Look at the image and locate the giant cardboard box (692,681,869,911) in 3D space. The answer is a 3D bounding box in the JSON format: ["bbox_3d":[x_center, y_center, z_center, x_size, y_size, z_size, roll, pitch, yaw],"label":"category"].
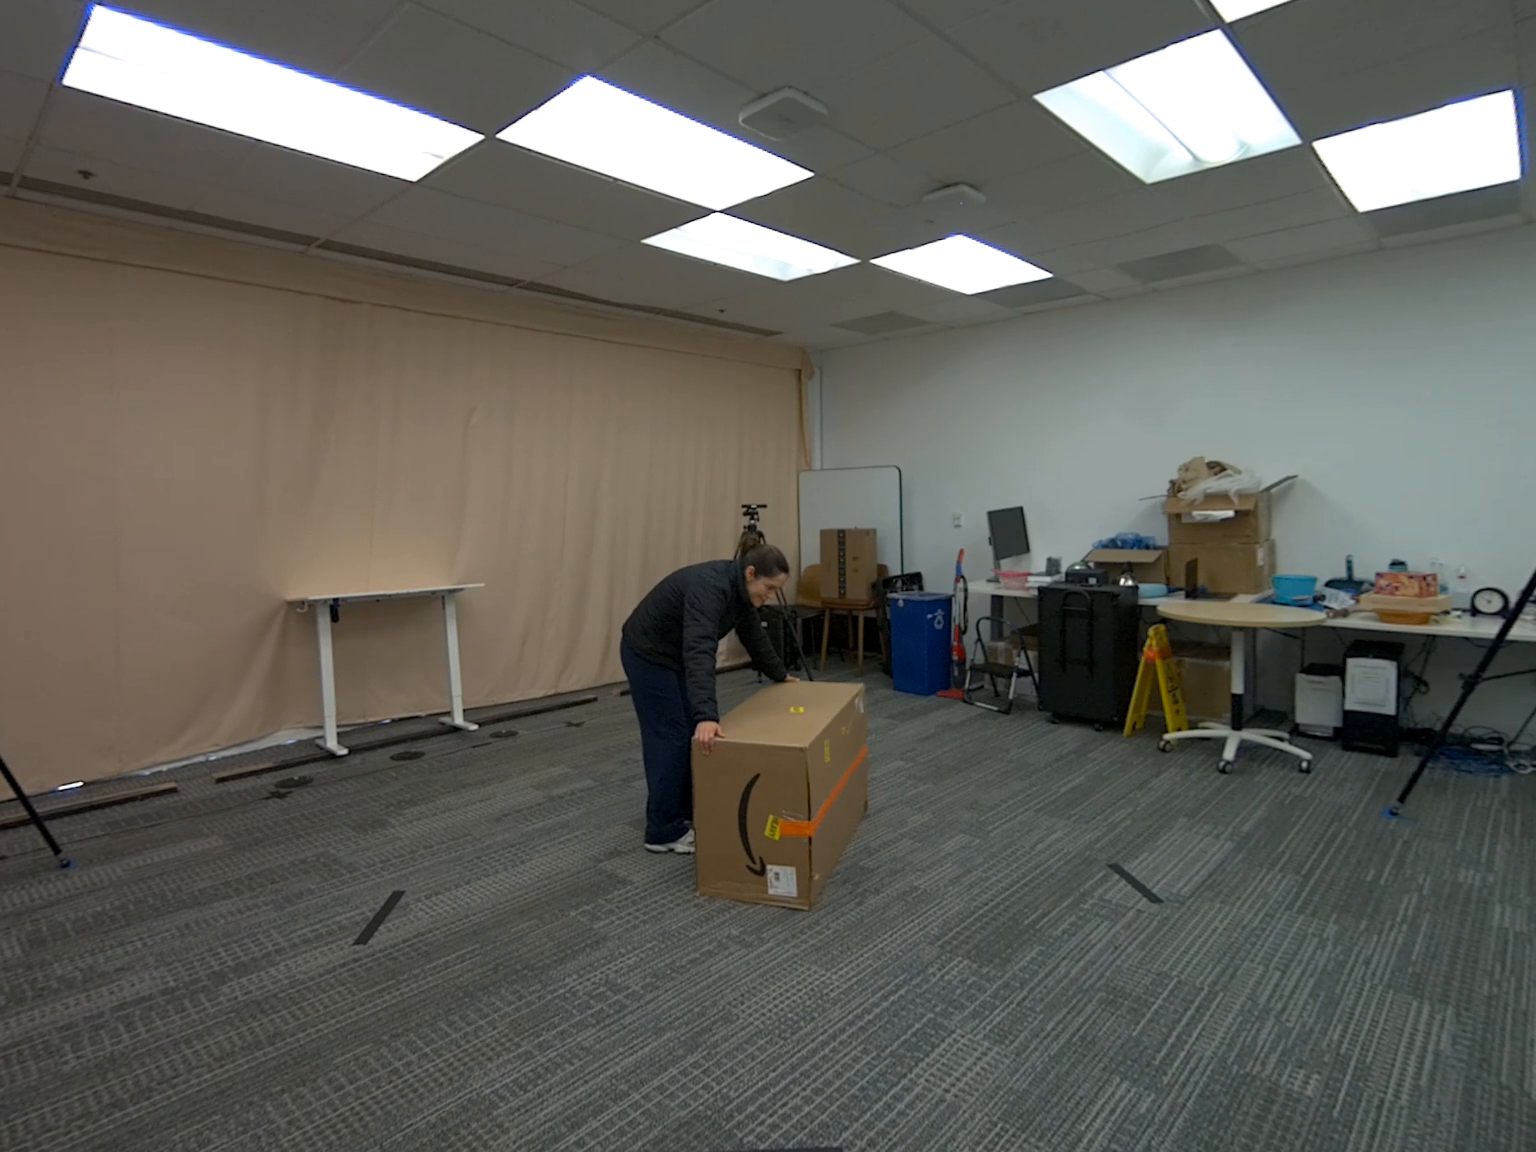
[{"bbox_3d":[0.103,0.813,3.395,0.456,0.582,1.009,0,5,18],"label":"giant cardboard box"}]
